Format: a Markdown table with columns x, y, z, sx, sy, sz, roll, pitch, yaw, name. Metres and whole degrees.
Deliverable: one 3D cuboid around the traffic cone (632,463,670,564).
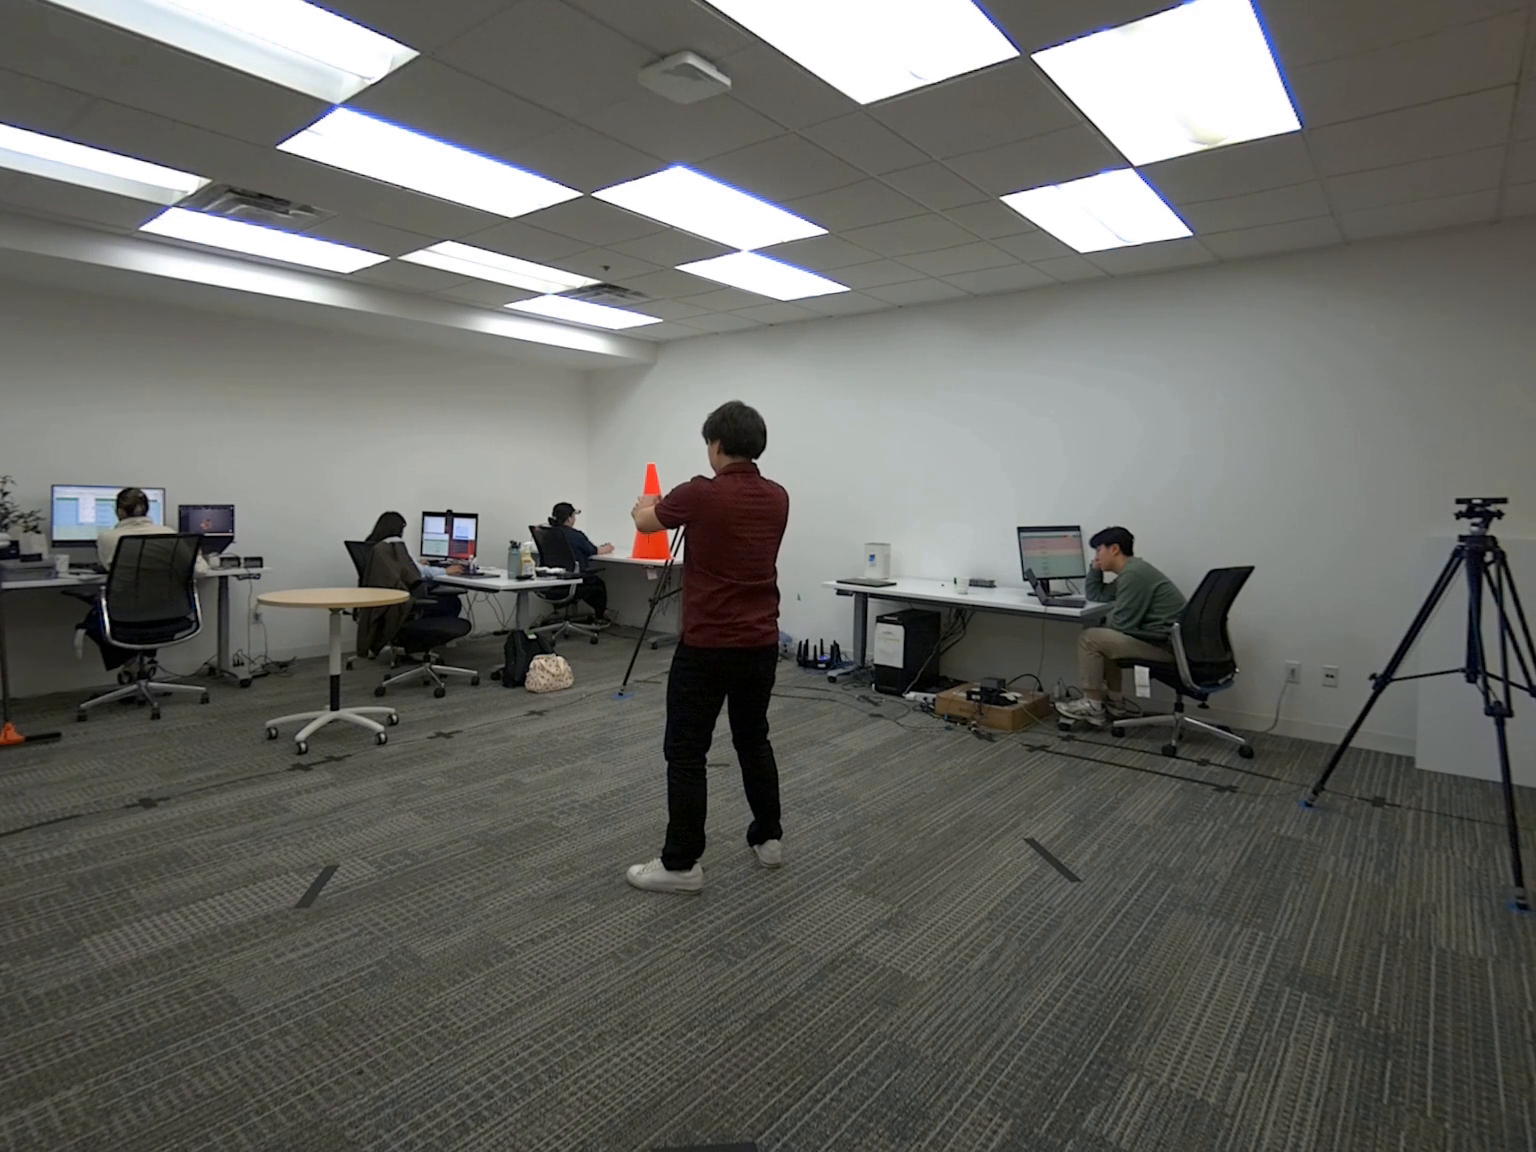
| x | y | z | sx | sy | sz | roll | pitch | yaw | name |
| --- | --- | --- | --- | --- | --- | --- | --- | --- | --- |
| -0.483 | -0.267 | 3.420 | 0.207 | 0.382 | 0.202 | 1 | 5 | 8 | traffic cone |
